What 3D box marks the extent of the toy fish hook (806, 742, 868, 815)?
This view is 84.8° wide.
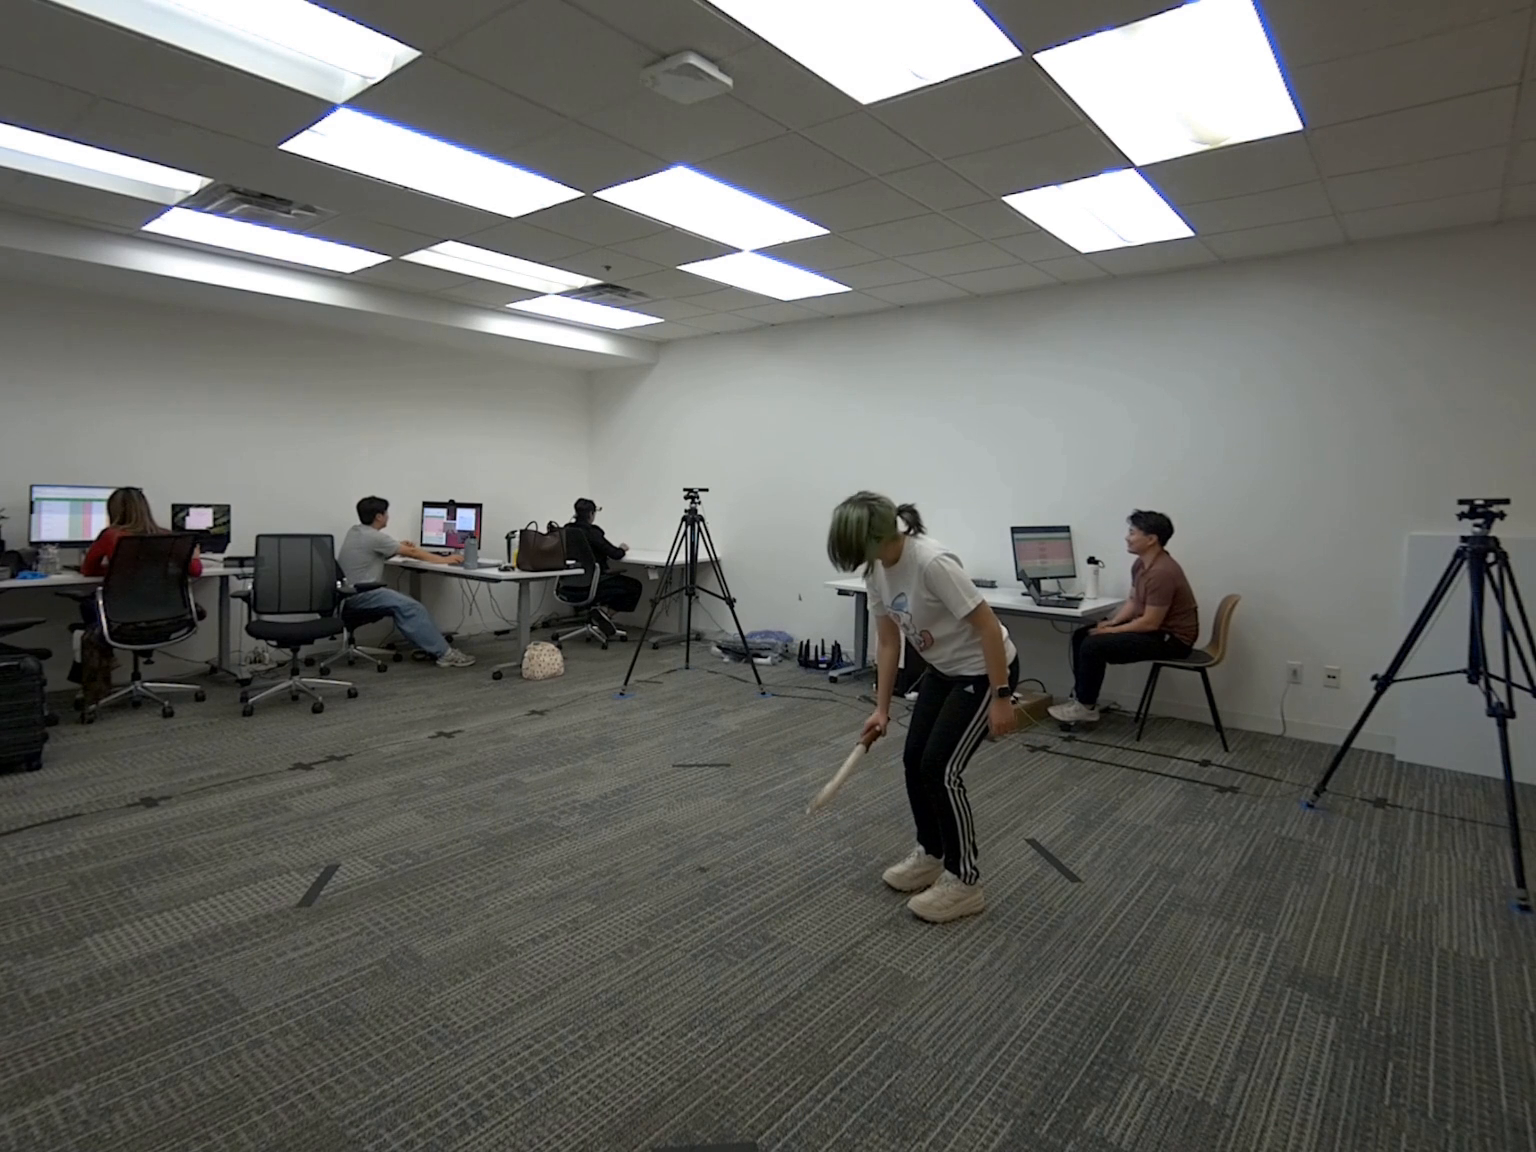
[{"bbox_3d":[0.277,0.658,2.987,0.502,0.049,0.223,-37,-11,-45],"label":"toy fish hook"}]
